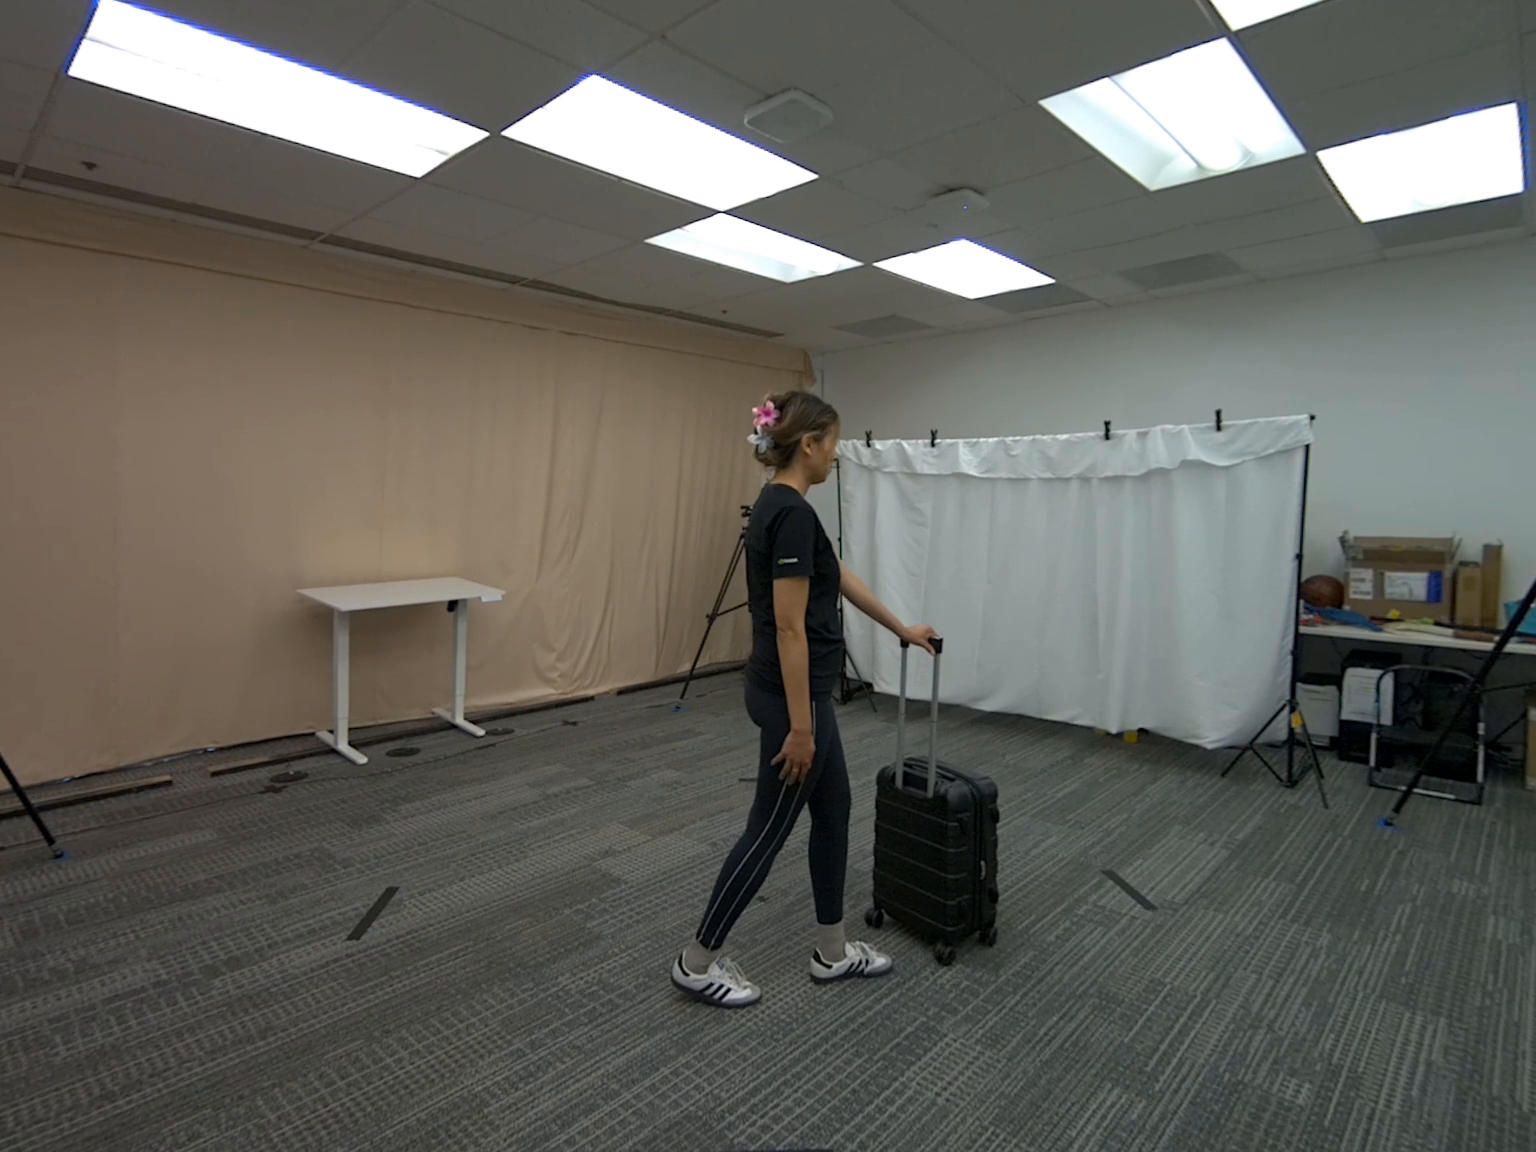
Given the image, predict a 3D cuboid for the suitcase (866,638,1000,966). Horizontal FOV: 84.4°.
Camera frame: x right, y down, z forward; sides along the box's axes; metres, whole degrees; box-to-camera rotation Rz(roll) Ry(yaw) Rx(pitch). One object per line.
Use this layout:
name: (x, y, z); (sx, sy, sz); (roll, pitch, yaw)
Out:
suitcase: (0.557, 0.688, 2.740); (0.249, 0.978, 0.396); (1, 1, -36)
